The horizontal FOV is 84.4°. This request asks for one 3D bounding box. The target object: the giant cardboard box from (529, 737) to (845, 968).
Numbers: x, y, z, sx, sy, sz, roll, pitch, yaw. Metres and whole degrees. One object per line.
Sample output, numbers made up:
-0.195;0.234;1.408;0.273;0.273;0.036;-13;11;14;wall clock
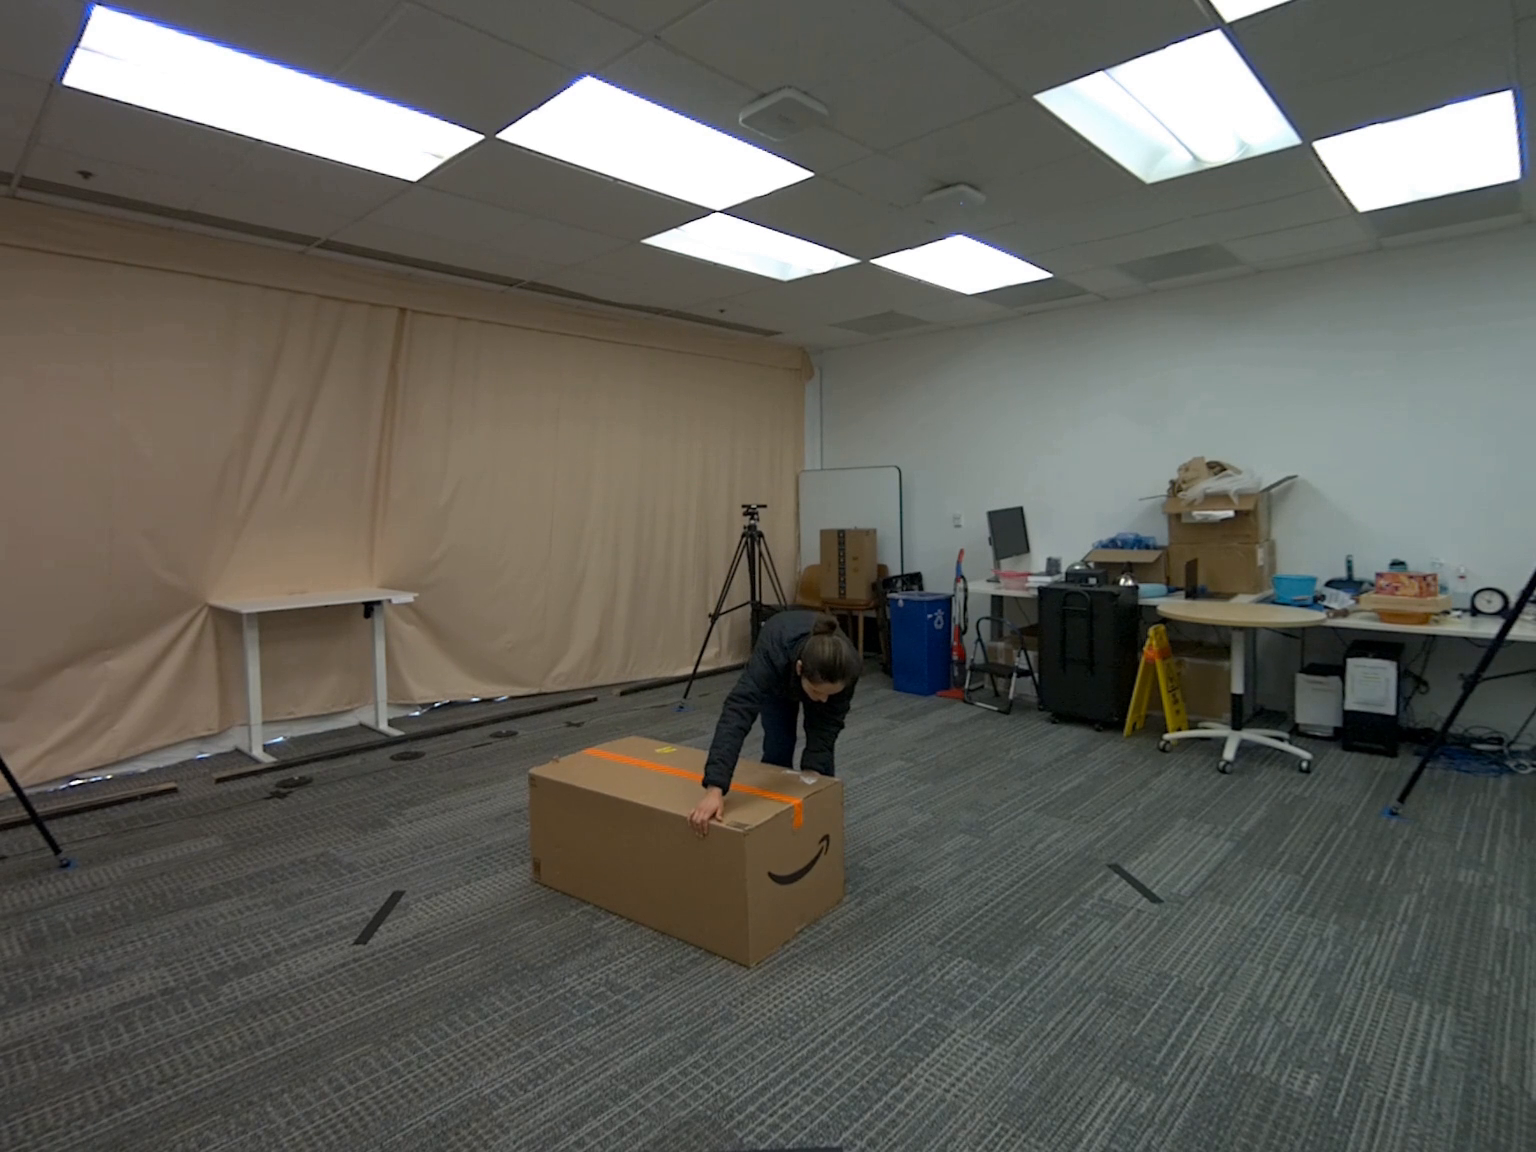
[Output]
-0.304;0.919;3.052;1.058;0.425;0.561;2;5;37;giant cardboard box
